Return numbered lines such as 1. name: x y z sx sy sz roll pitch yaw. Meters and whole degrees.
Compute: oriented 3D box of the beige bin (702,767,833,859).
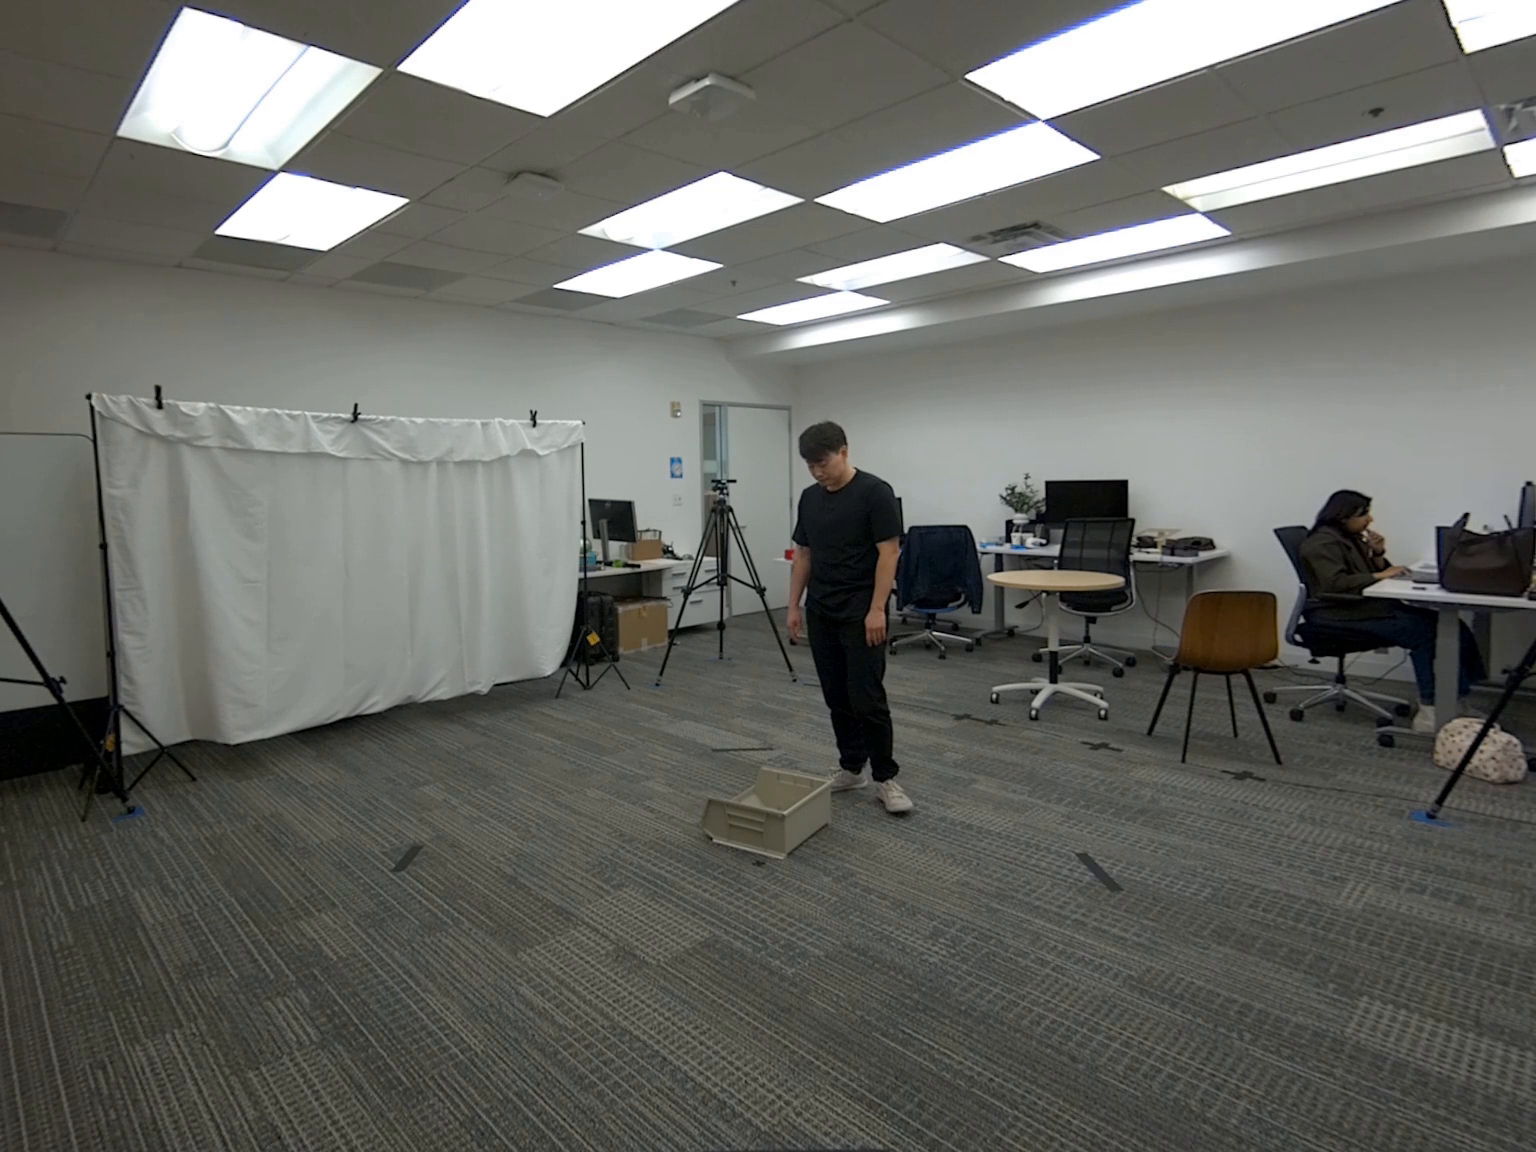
1. beige bin: 0.005 0.925 3.393 0.388 0.188 0.413 4 7 31
